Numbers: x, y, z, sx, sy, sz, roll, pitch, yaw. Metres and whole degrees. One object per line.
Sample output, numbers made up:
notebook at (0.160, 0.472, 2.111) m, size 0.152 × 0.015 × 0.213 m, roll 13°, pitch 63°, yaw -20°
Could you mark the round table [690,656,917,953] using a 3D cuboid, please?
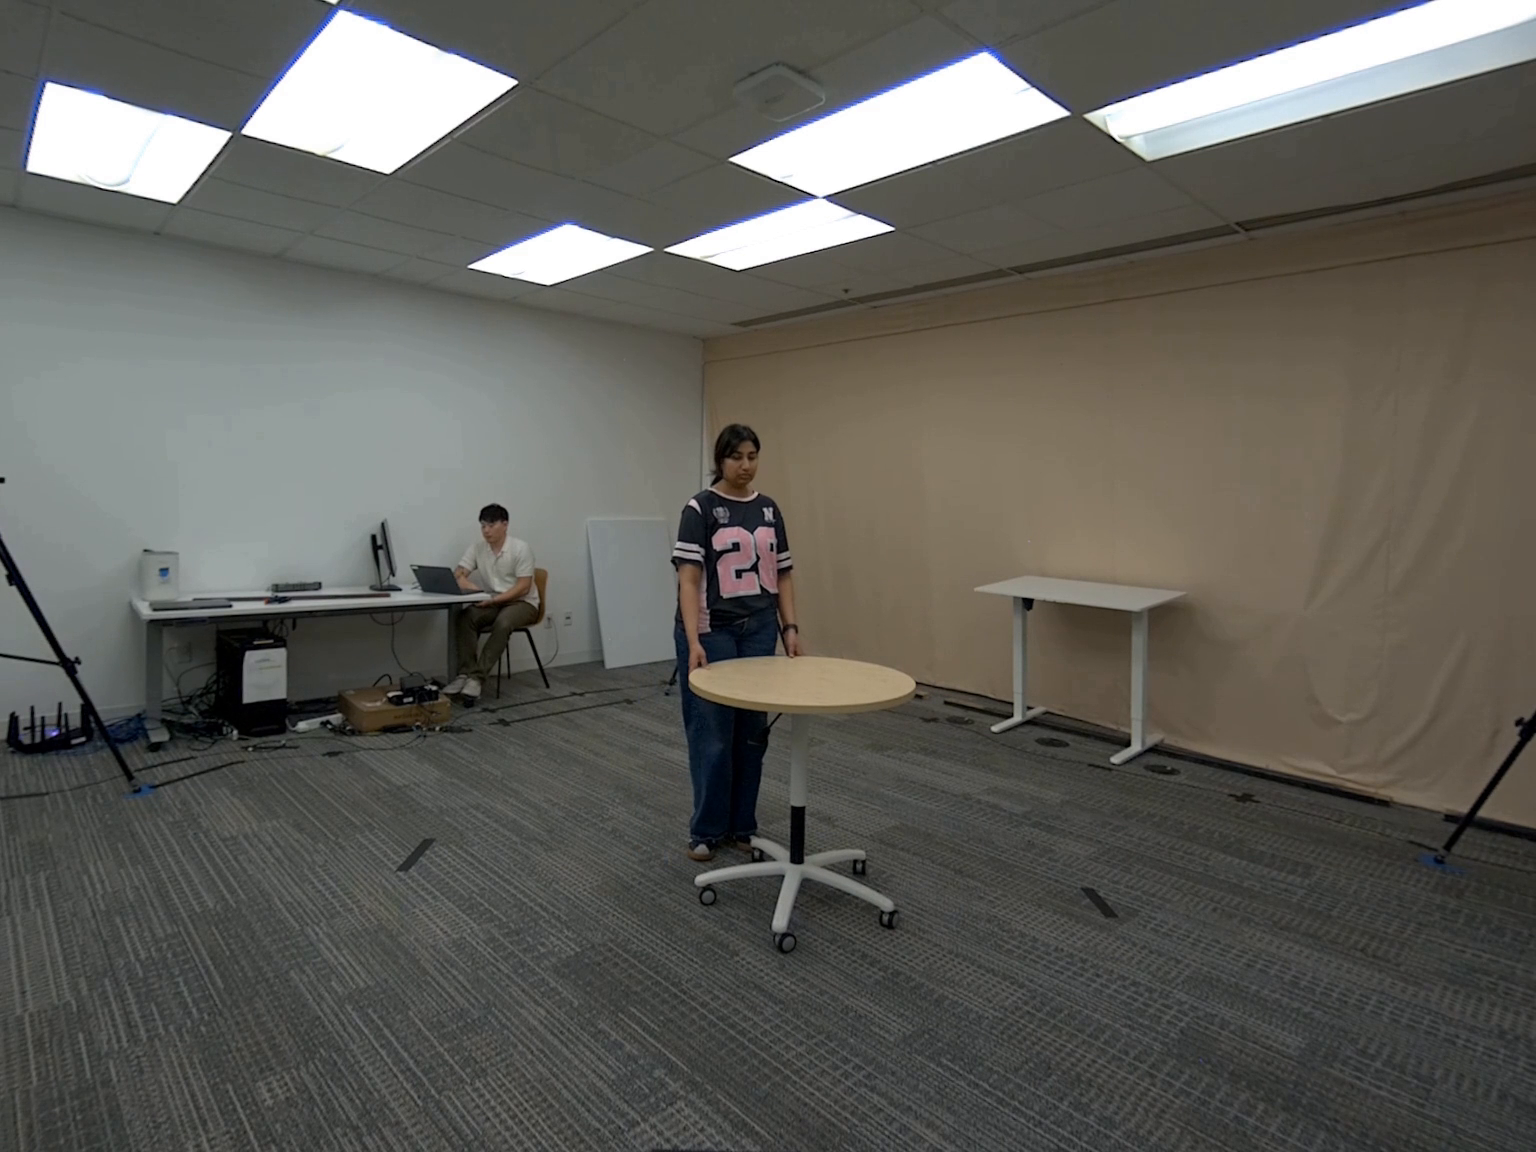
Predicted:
round table at (0.100, 0.734, 2.903) m, size 0.784 × 0.784 × 0.788 m, roll 1°, pitch 5°, yaw -1°
